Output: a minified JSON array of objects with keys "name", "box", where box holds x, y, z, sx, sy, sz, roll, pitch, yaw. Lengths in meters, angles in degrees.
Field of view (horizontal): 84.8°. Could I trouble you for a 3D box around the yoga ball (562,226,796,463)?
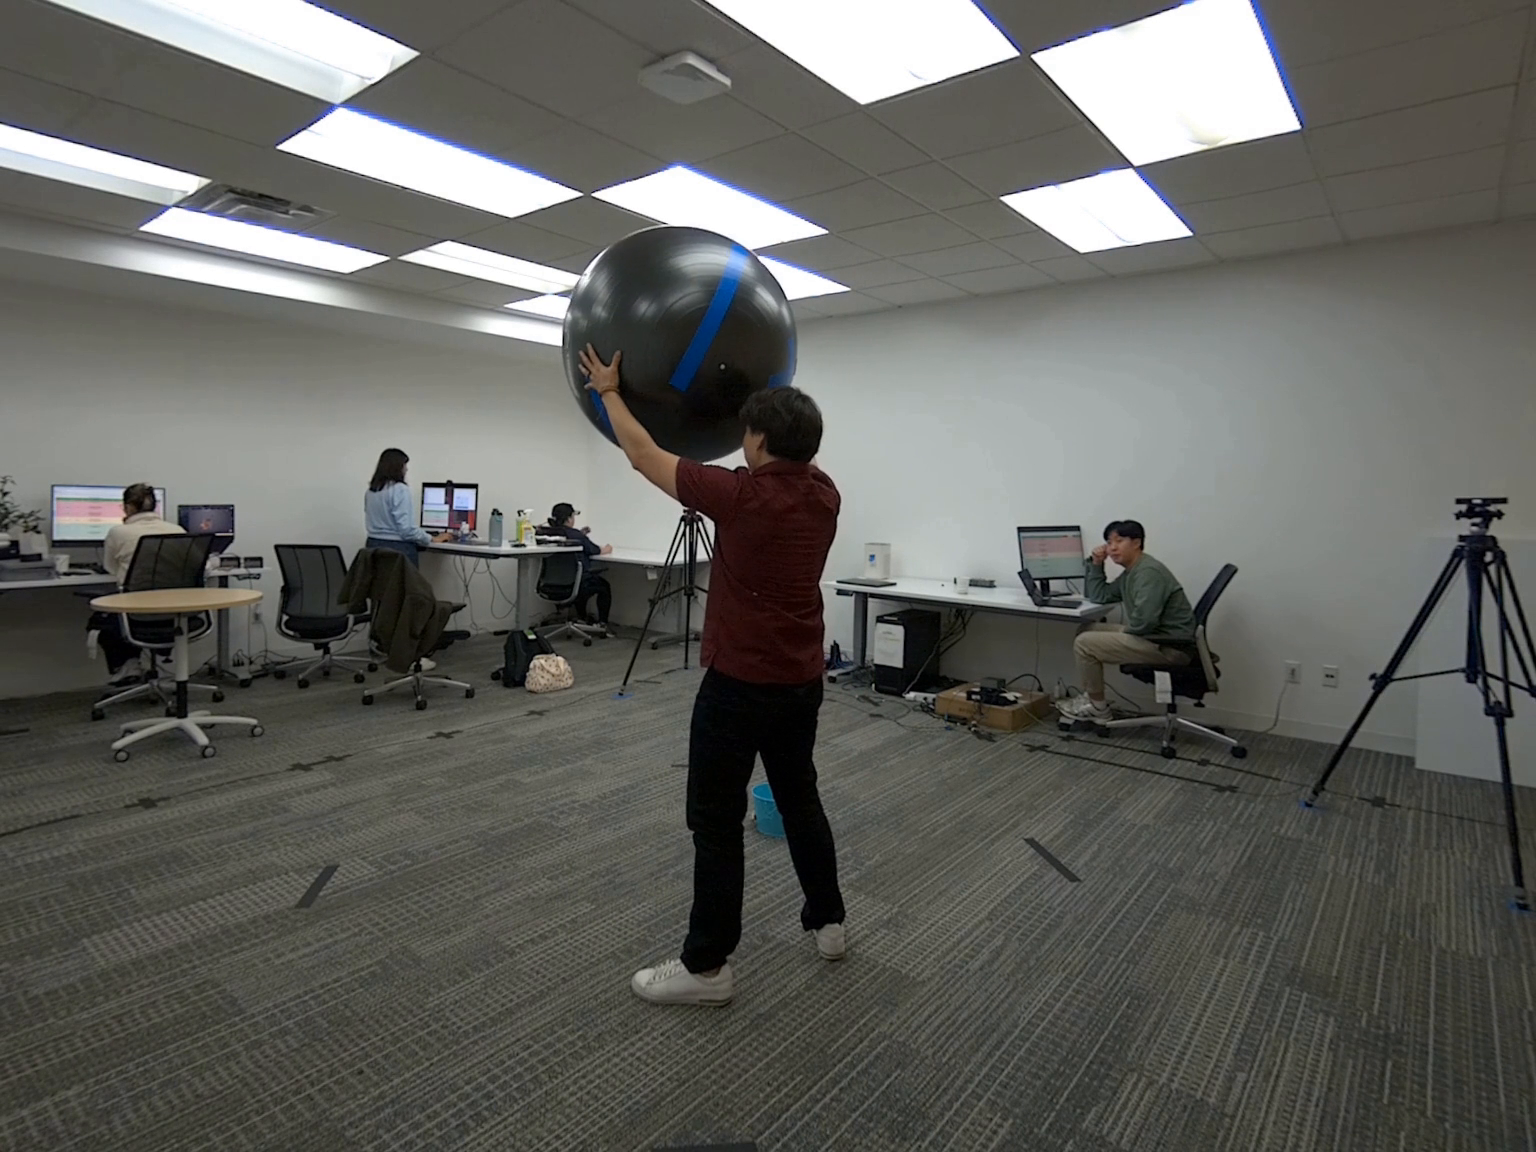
[{"name":"yoga ball","box":[-0.297,-0.734,2.769,0.757,0.756,0.762,1,4,-2]}]
